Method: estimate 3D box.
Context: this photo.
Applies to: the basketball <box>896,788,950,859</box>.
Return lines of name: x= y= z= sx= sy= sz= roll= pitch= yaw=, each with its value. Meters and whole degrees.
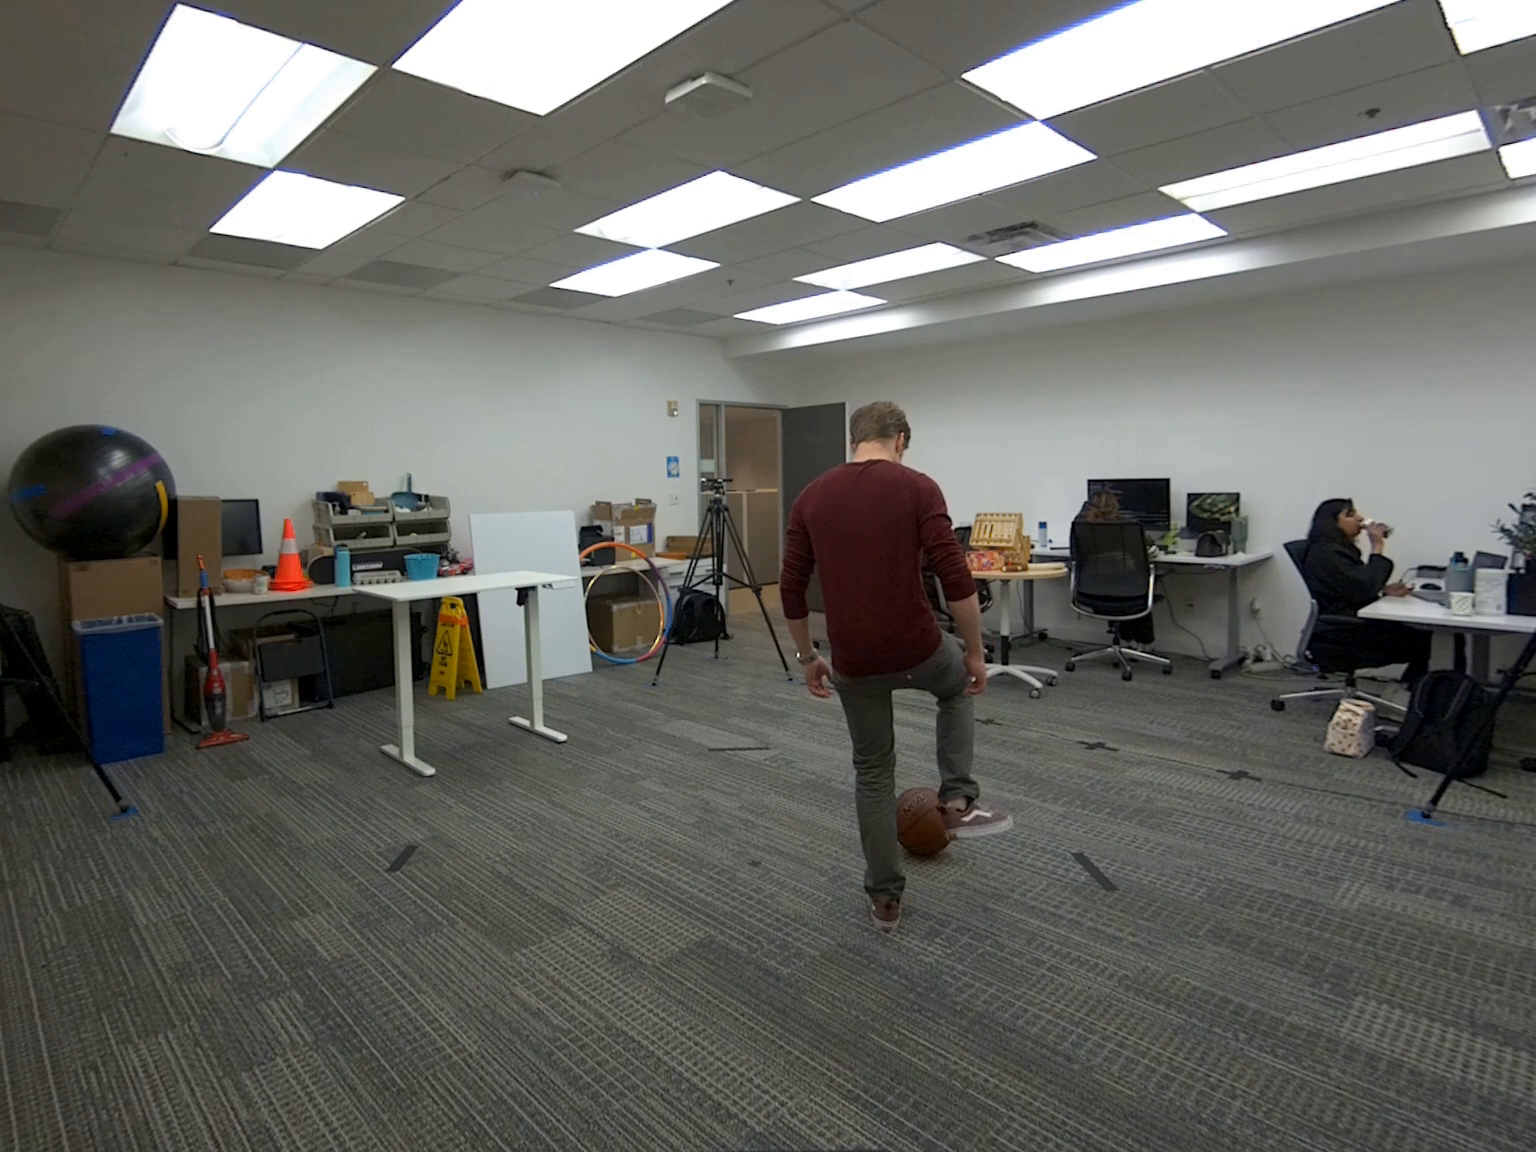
basketball: x=0.577 y=0.907 z=3.164 sx=0.236 sy=0.235 sz=0.237 roll=-1 pitch=5 yaw=-2
